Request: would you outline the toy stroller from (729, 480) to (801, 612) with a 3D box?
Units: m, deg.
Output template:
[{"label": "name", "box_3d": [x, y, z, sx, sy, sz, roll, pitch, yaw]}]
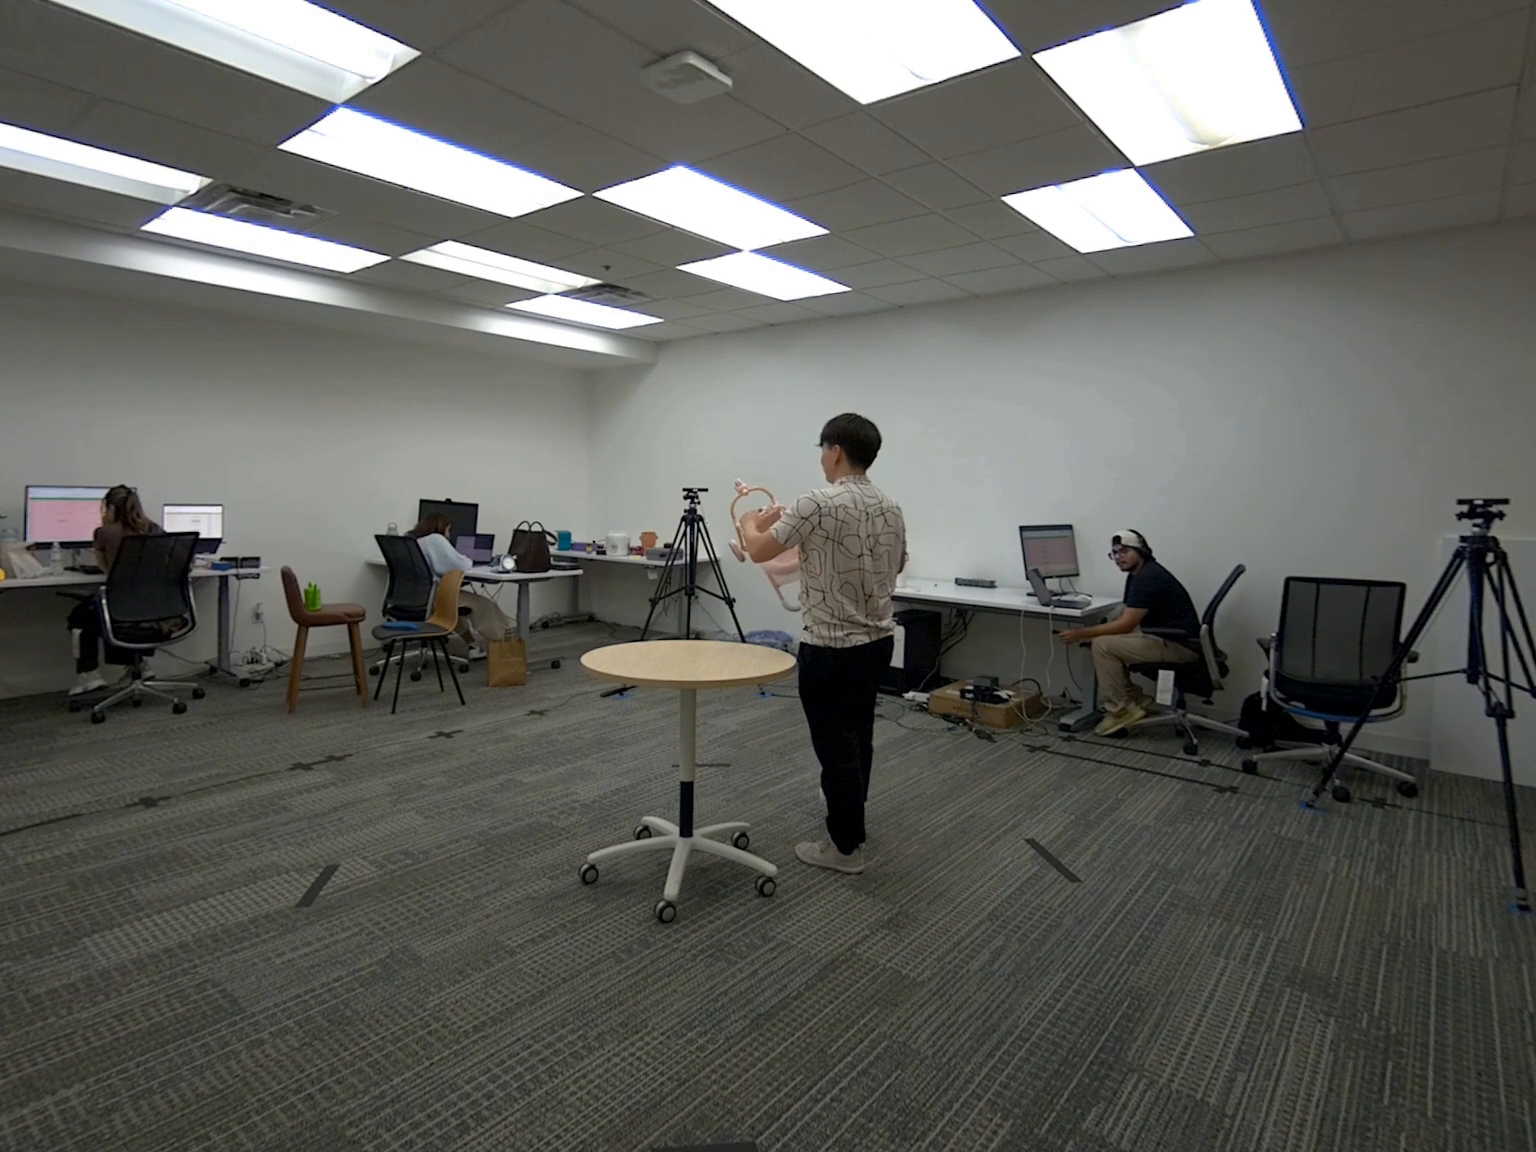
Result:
[{"label": "toy stroller", "box_3d": [0.014, -0.153, 3.491, 0.280, 0.329, 0.558, -26, 45, -10]}]
